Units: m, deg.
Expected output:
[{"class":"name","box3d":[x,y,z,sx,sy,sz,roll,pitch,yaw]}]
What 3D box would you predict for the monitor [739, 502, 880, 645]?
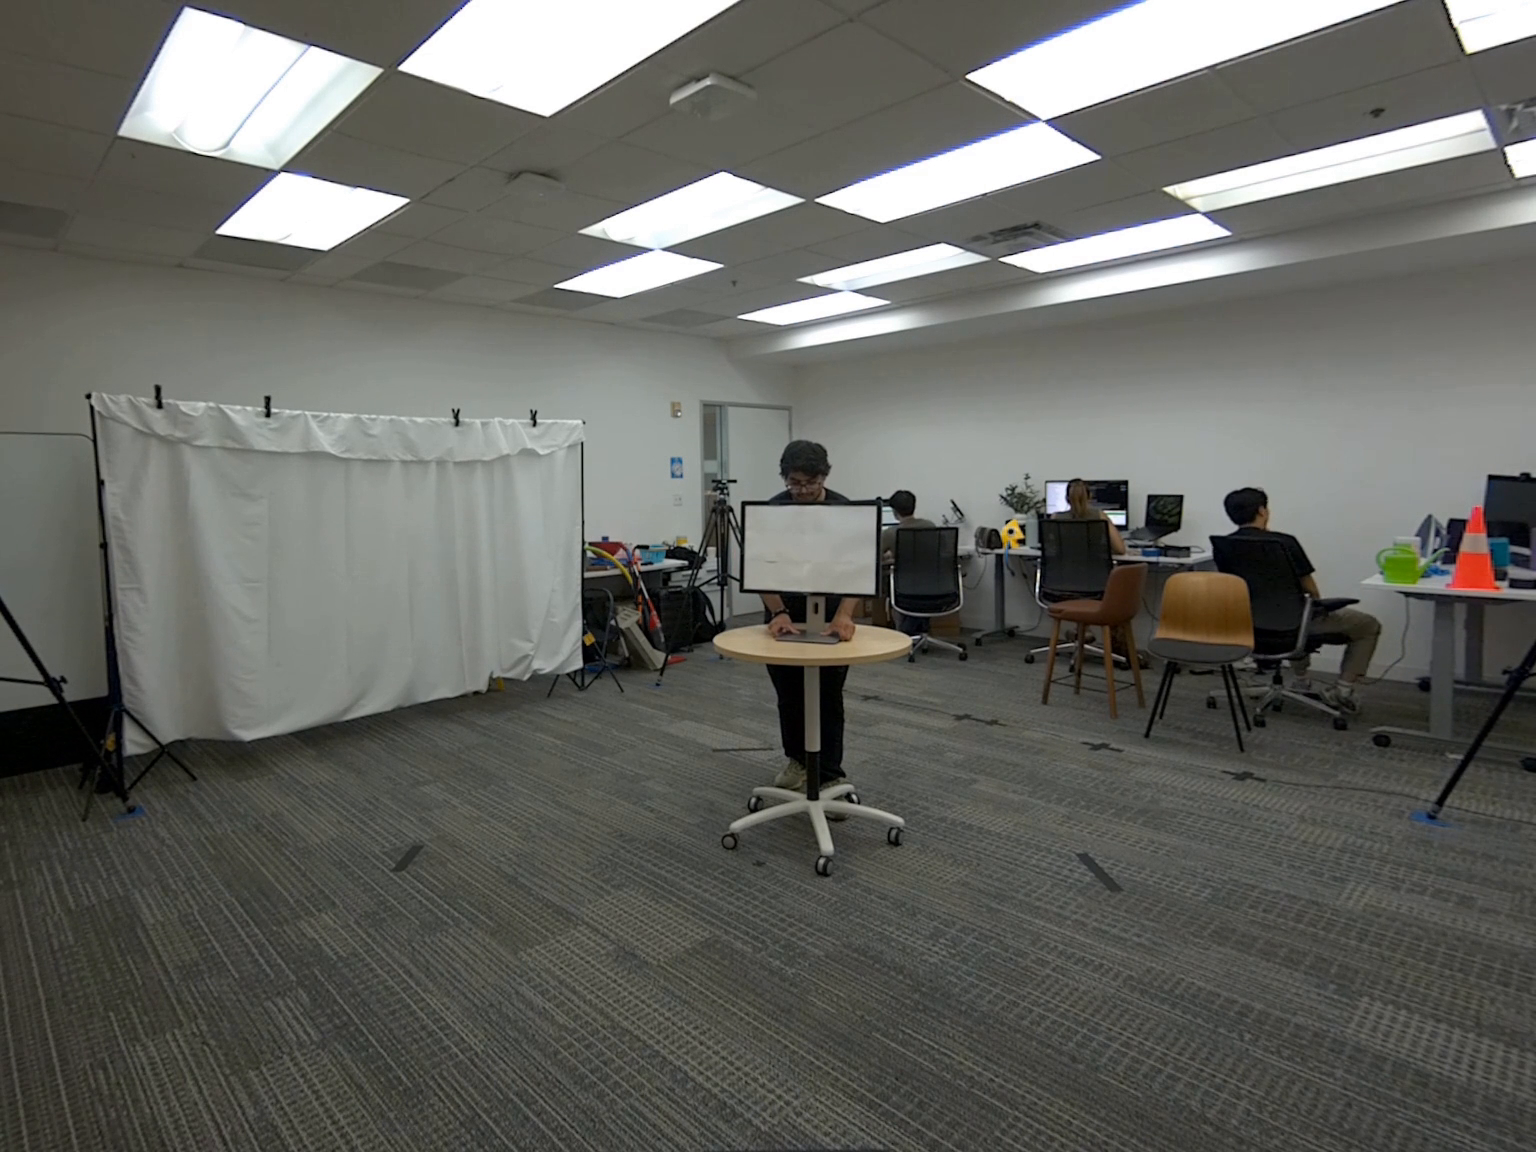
[{"class":"monitor","box3d":[0.177,-0.022,3.336,0.577,0.552,0.206,1,3,23]}]
